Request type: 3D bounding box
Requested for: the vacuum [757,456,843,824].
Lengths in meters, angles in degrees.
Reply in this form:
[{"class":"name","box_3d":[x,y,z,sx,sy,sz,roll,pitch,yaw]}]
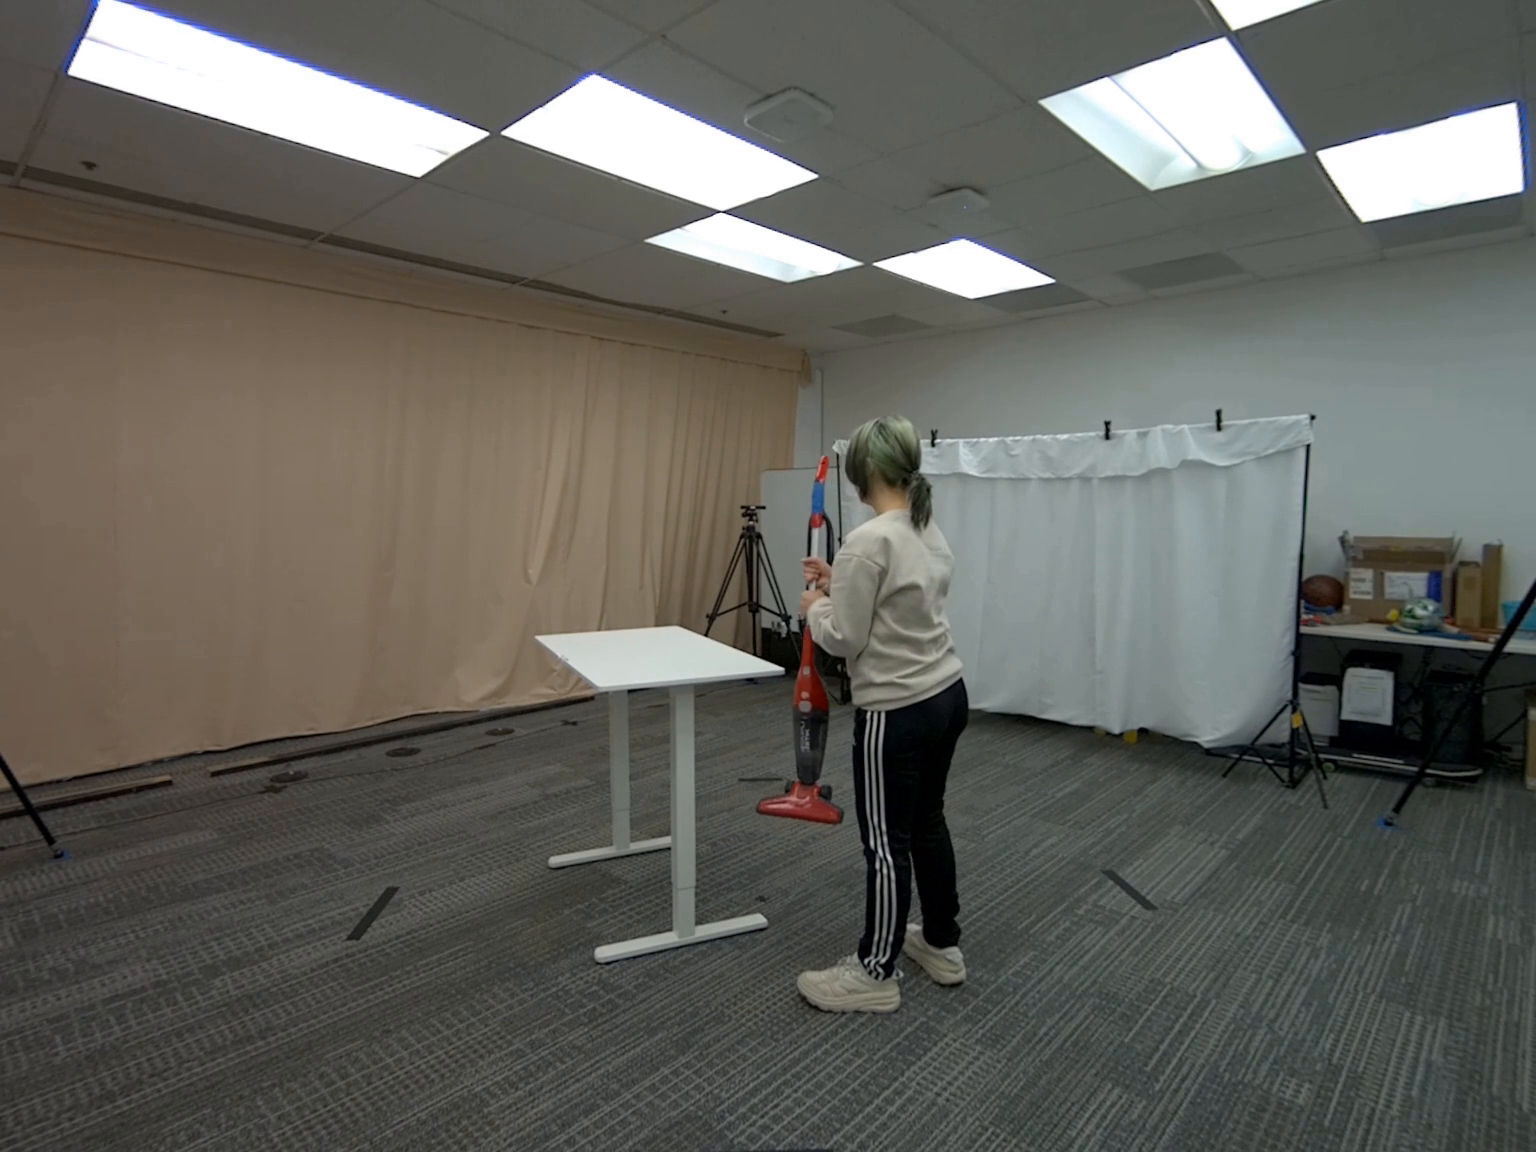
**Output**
[{"class":"vacuum","box_3d":[0.150,0.153,2.544,0.259,1.055,0.139,0,-11,26]}]
